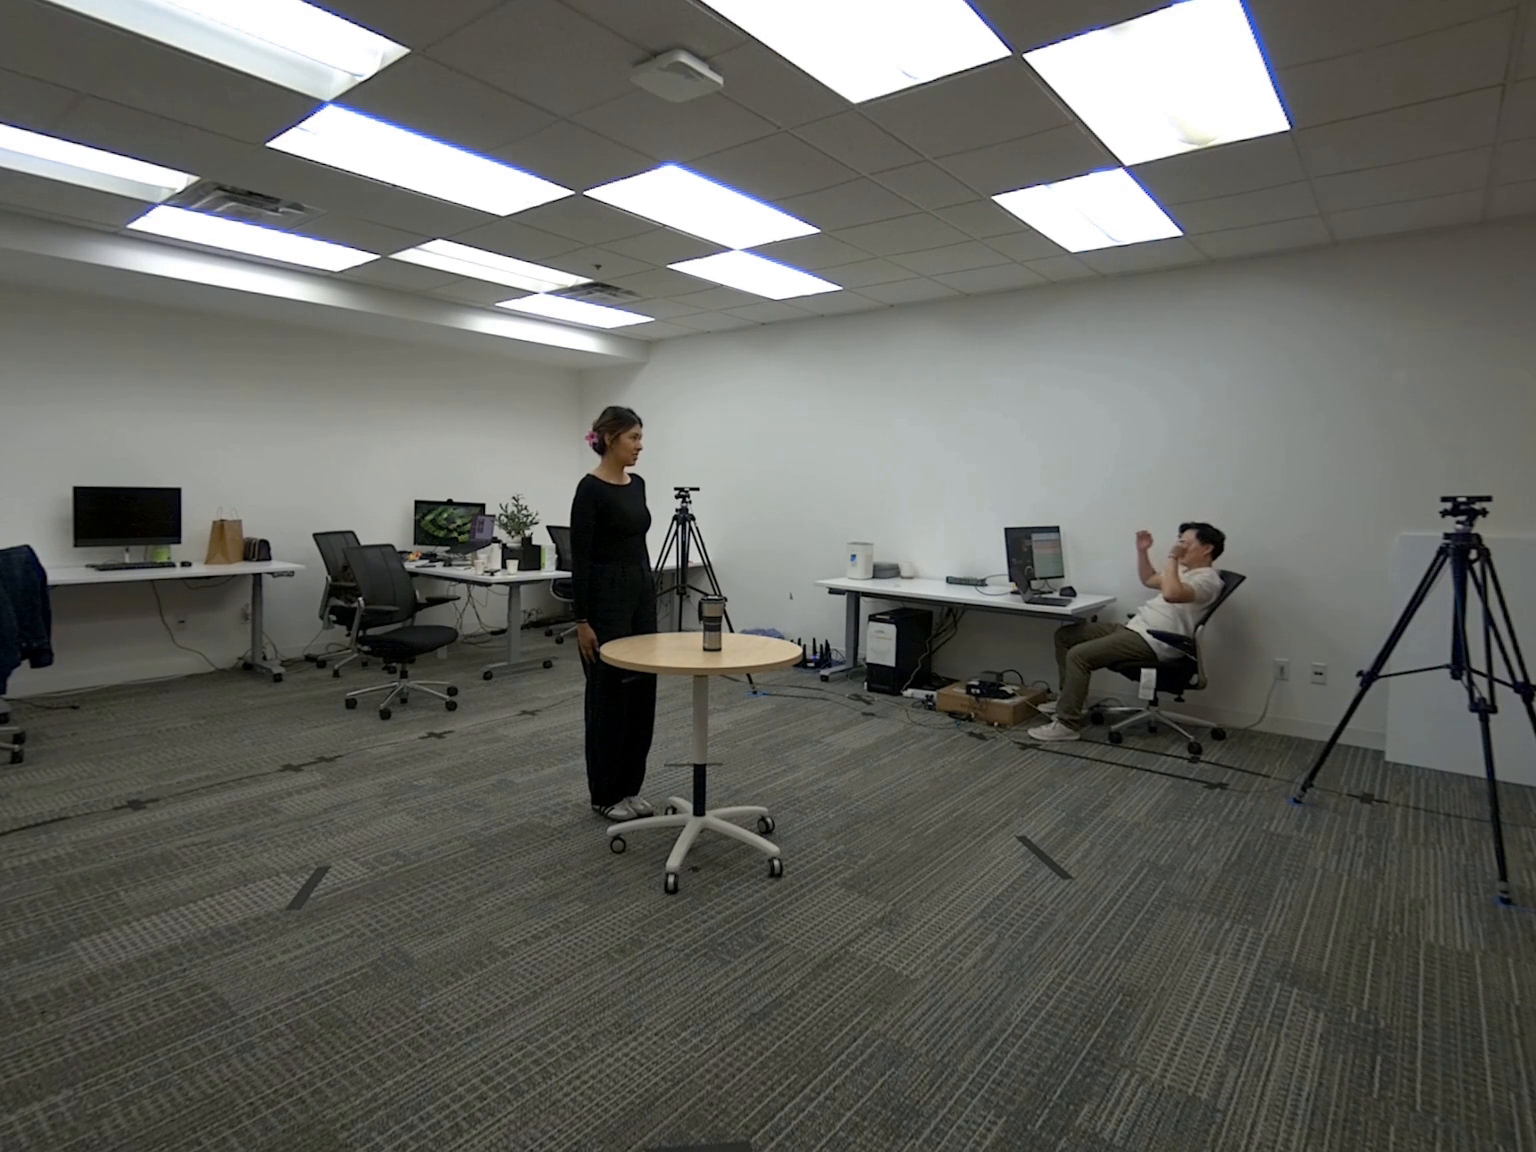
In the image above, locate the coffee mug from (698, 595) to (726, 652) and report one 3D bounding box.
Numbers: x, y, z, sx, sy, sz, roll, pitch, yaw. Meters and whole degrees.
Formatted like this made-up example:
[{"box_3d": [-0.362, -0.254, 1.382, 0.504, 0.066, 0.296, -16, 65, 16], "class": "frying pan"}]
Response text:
[{"box_3d": [-0.213, 0.175, 3.200, 0.088, 0.202, 0.121, -2, 4, 6], "class": "coffee mug"}]
